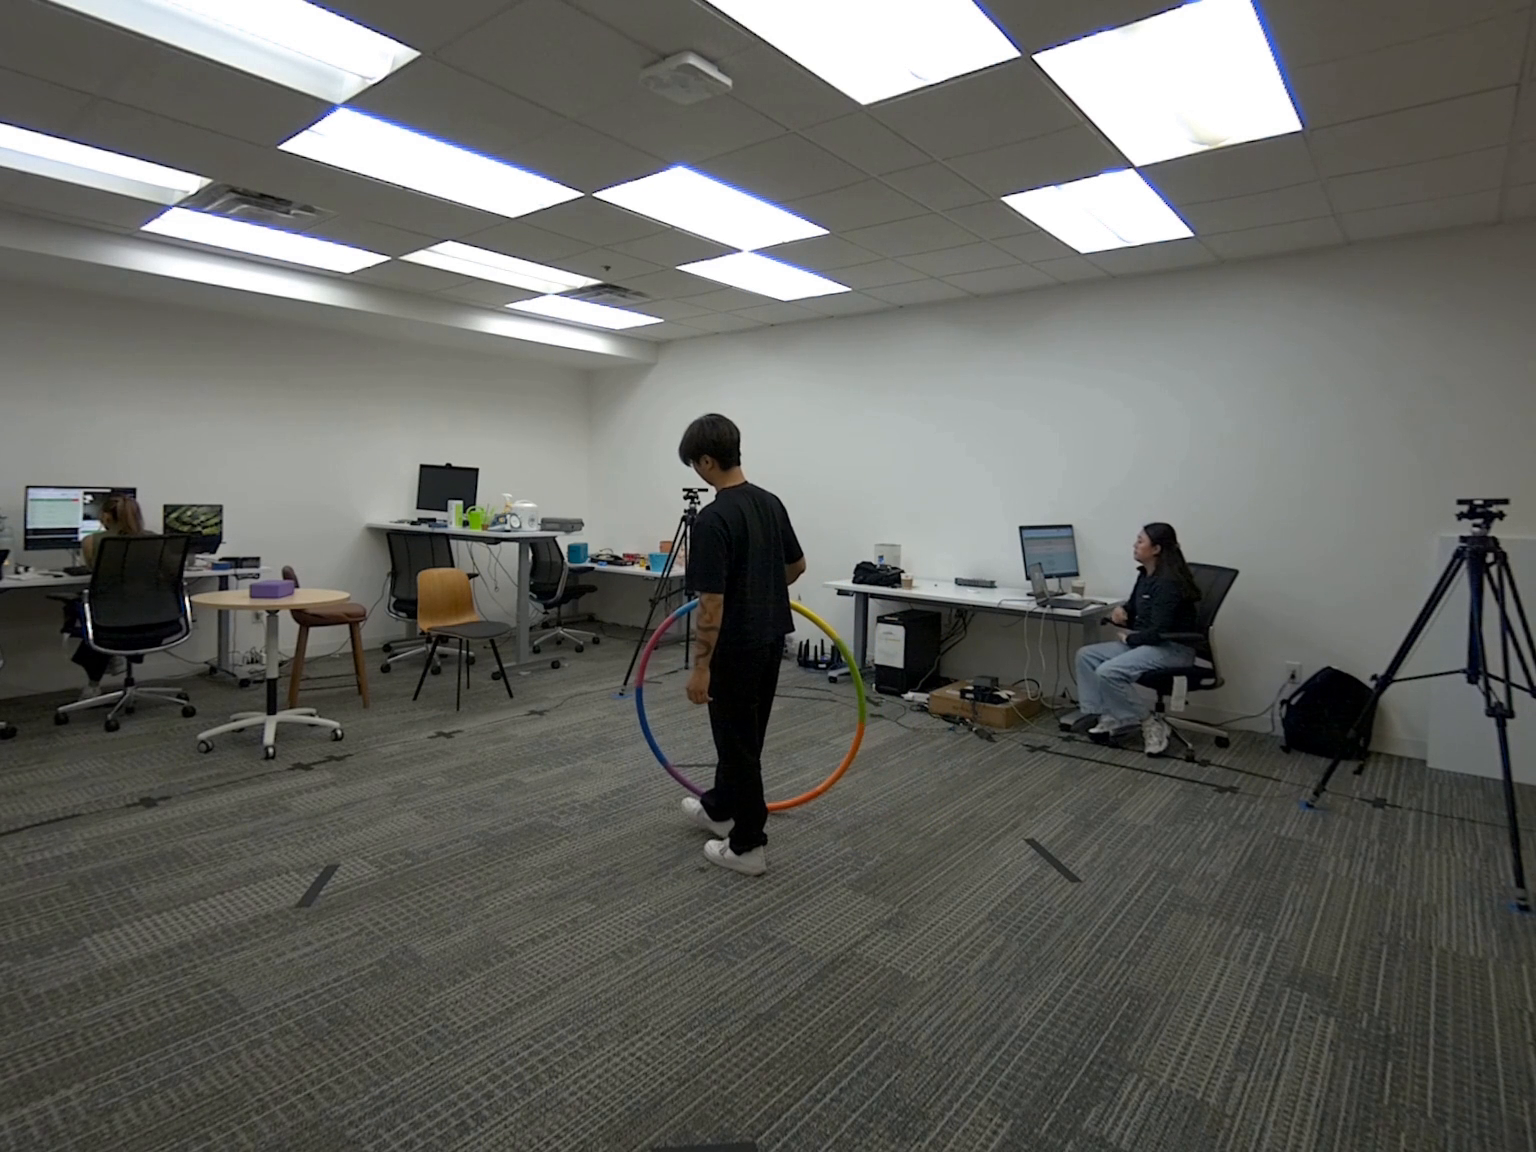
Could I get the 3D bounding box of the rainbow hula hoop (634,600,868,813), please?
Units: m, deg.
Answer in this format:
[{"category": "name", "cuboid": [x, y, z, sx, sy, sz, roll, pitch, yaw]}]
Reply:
[{"category": "rainbow hula hoop", "cuboid": [-0.102, 0.539, 3.617, 0.990, 0.970, 0.035, 2, 8, 10]}]
